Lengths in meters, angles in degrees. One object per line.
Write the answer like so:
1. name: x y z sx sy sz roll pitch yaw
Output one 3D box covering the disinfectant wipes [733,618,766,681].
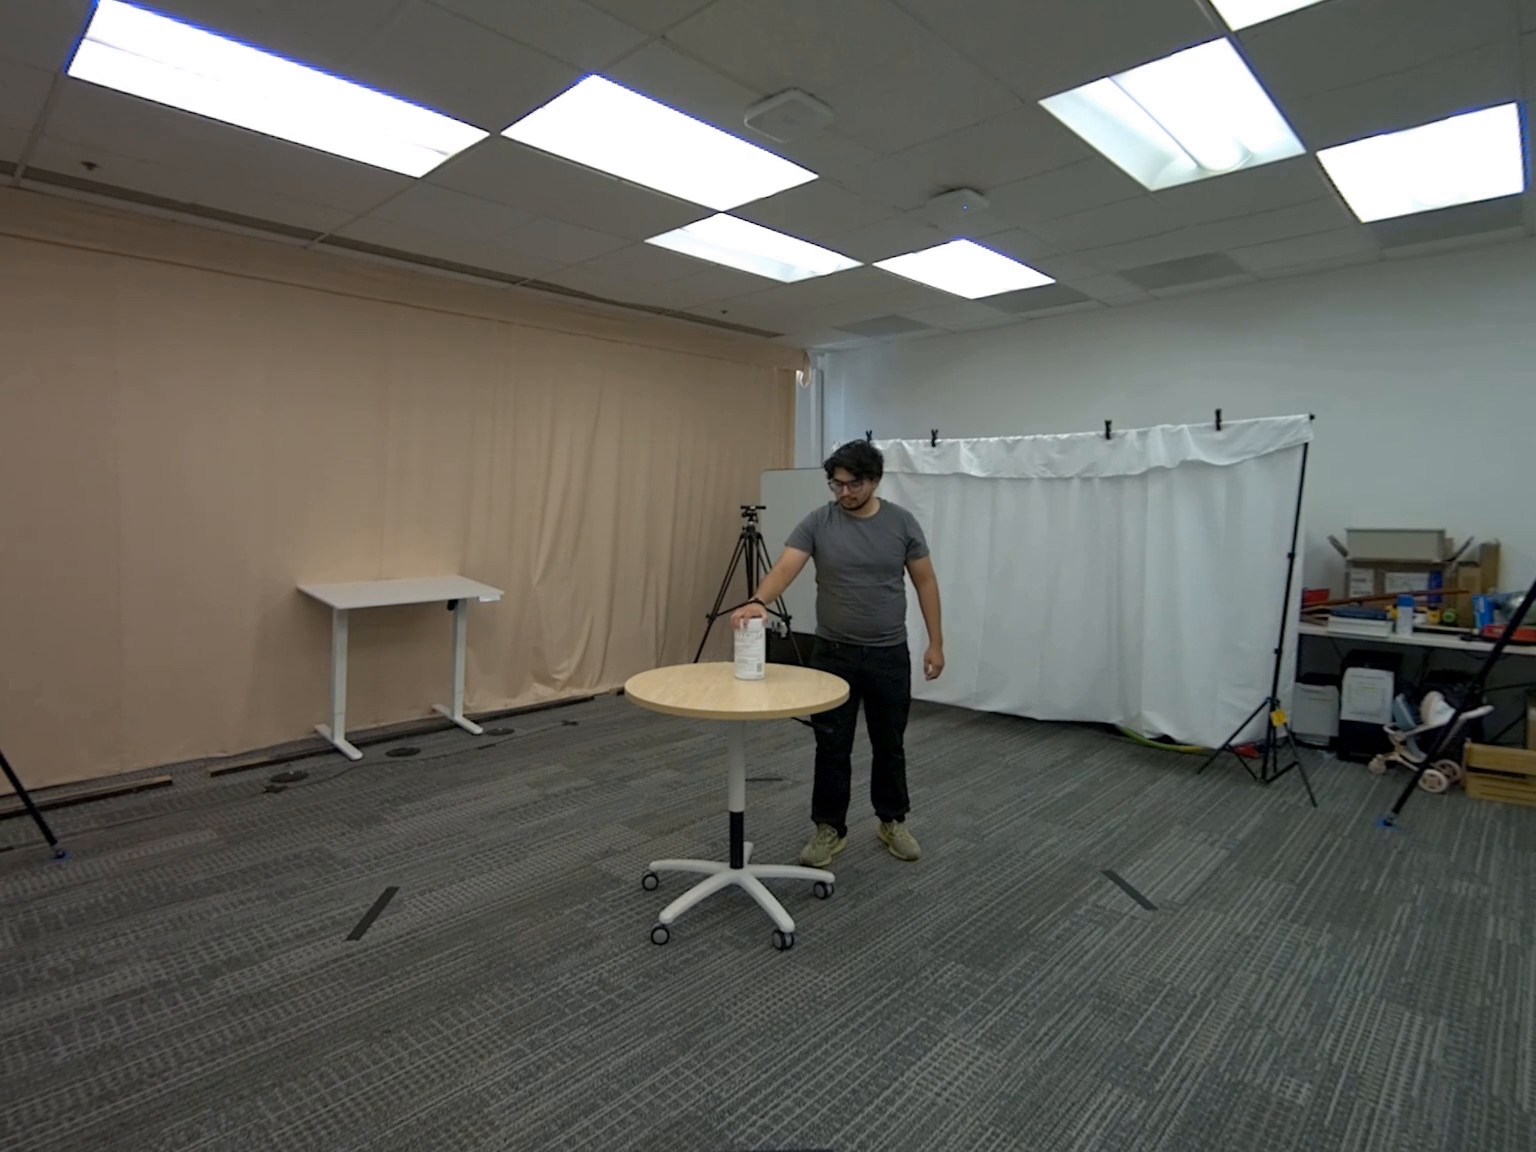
1. disinfectant wipes: -0.054 0.256 2.984 0.117 0.217 0.118 2 3 -2
